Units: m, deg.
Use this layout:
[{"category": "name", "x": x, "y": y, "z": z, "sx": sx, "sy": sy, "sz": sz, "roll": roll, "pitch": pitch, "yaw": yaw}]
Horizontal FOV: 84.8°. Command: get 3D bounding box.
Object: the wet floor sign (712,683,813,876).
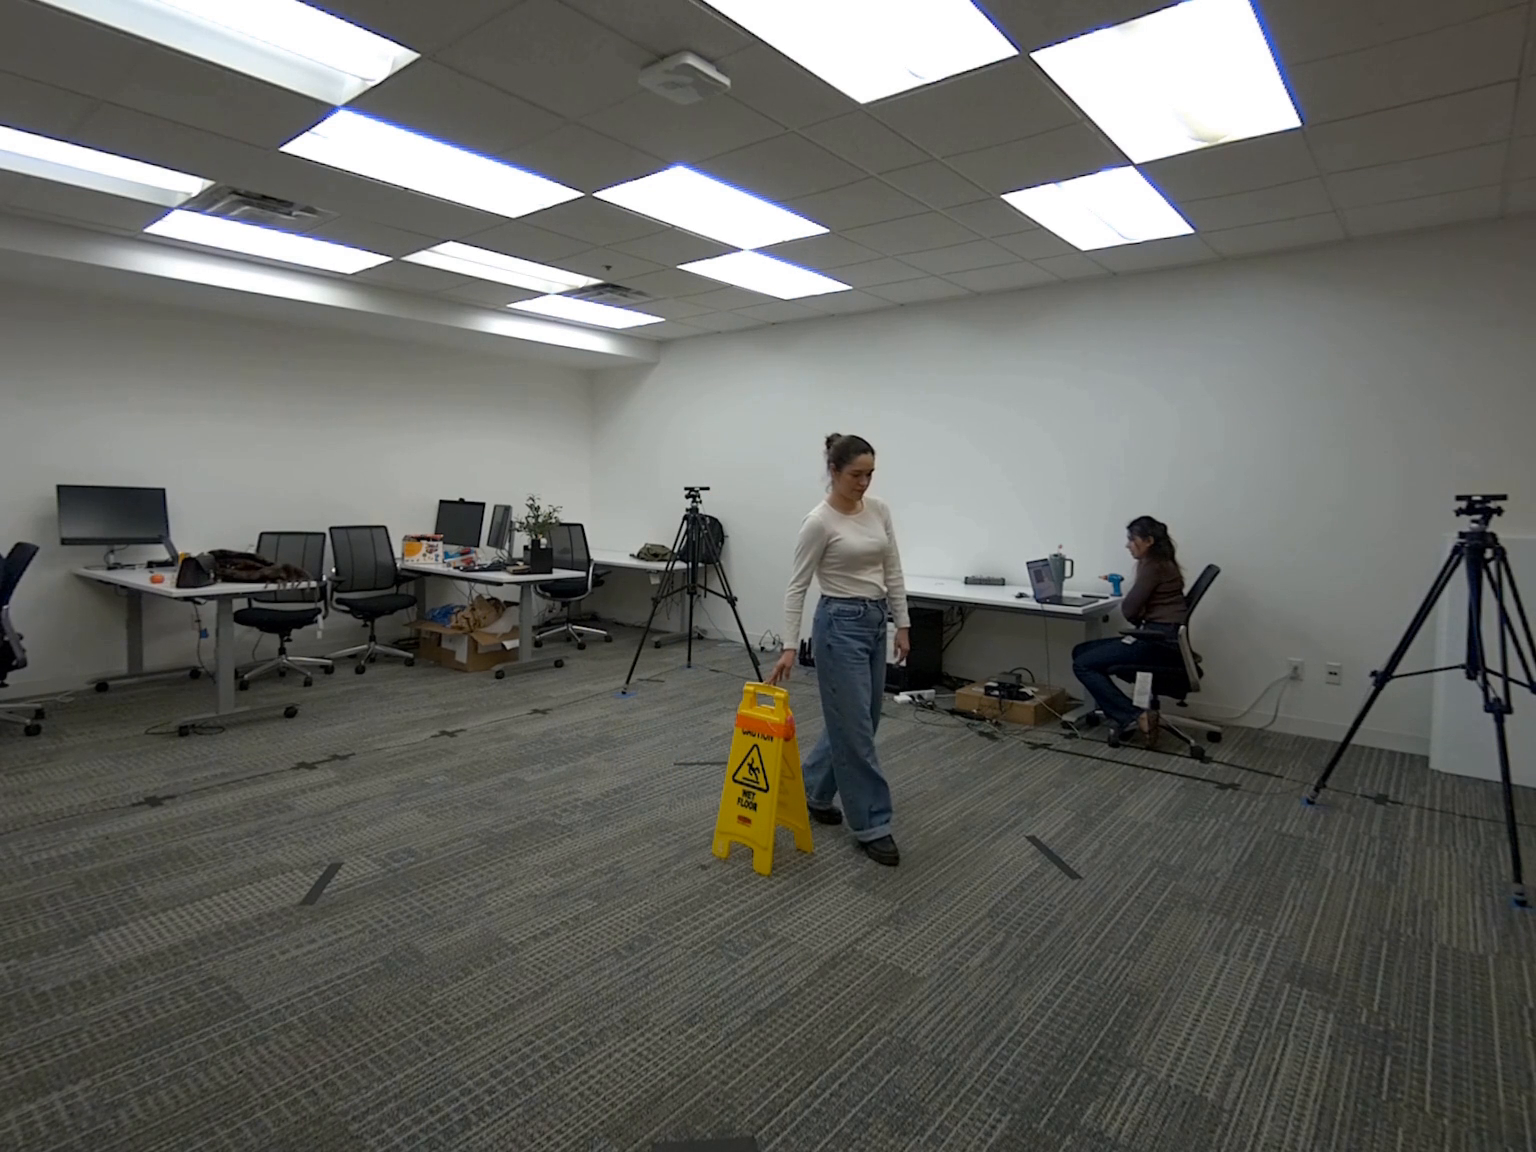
[{"category": "wet floor sign", "x": -0.019, "y": 0.731, "z": 3.237, "sx": 0.292, "sy": 0.644, "sz": 0.281, "roll": 4, "pitch": 3, "yaw": 39}]
